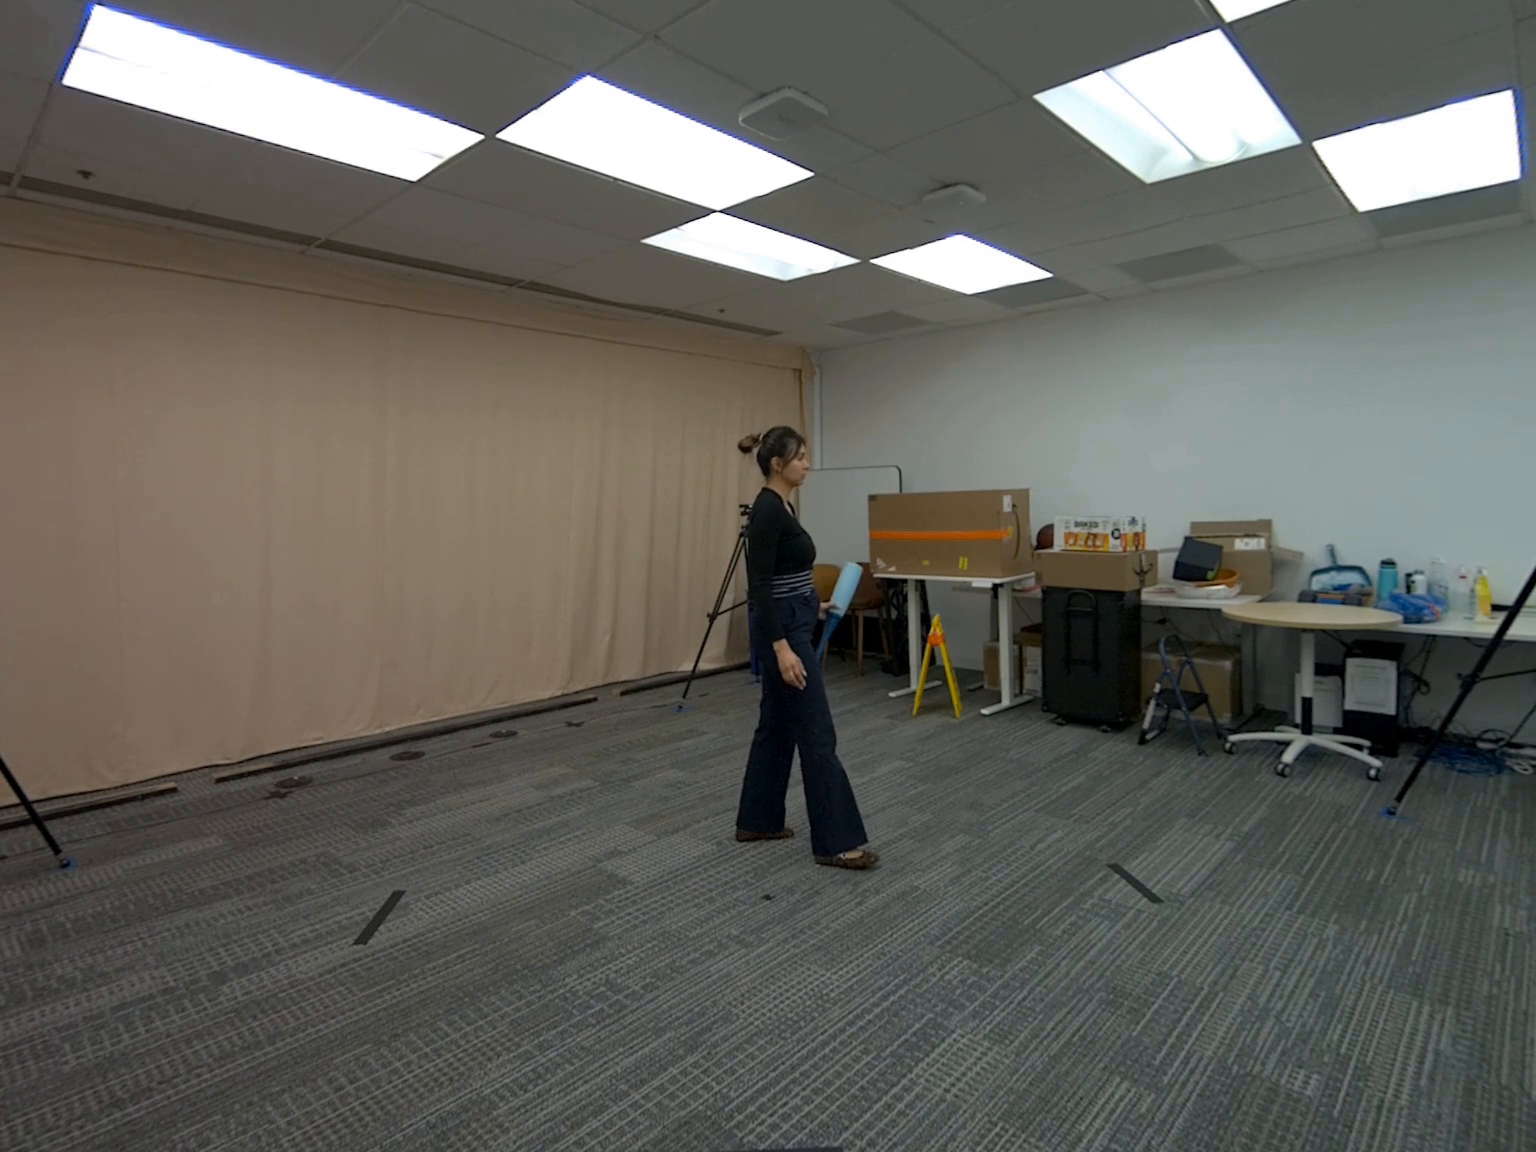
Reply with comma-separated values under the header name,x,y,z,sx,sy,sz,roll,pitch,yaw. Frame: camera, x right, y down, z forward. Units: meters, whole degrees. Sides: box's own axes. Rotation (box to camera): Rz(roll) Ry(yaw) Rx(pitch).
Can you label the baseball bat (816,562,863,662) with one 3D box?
name,x,y,z,sx,sy,sz,roll,pitch,yaw
baseball bat,0.303,0.171,3.743,0.089,0.544,0.088,19,-14,3
